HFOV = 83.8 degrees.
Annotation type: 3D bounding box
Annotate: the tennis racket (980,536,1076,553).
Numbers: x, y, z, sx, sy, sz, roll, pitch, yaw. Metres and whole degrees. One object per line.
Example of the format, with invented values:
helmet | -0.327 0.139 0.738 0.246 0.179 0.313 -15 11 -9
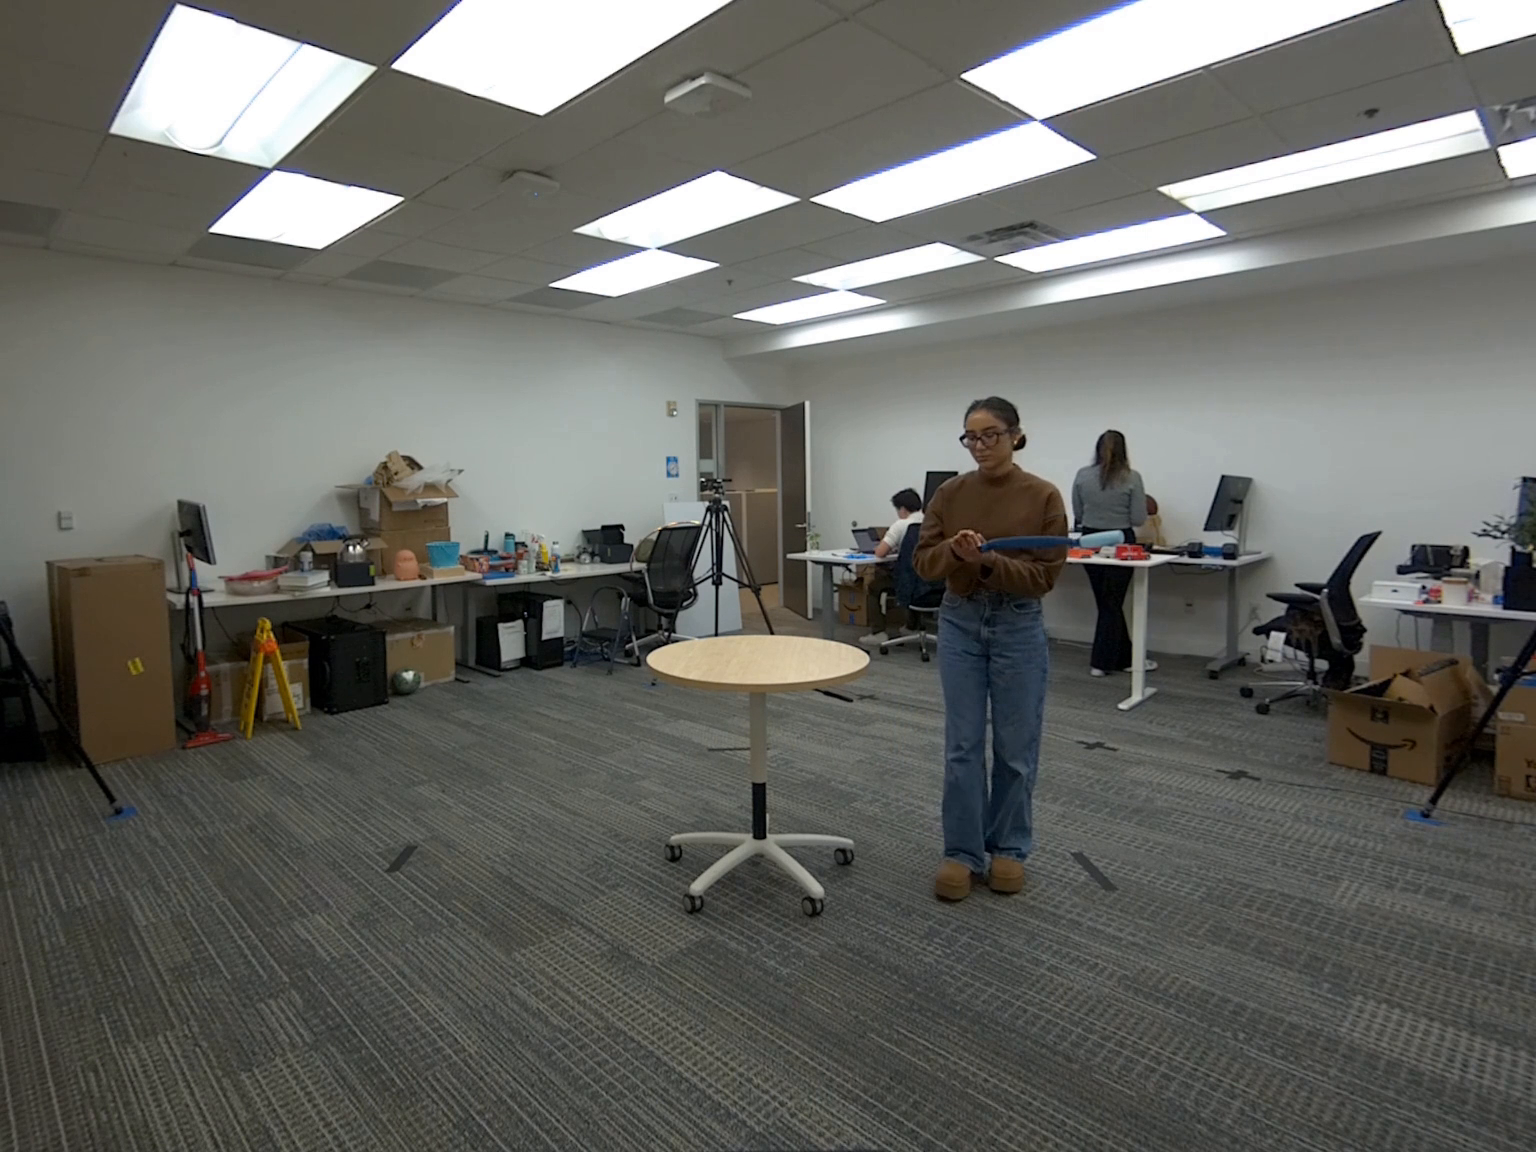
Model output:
tennis racket | 0.726 -0.103 2.548 0.208 0.032 0.441 3 -5 -28
